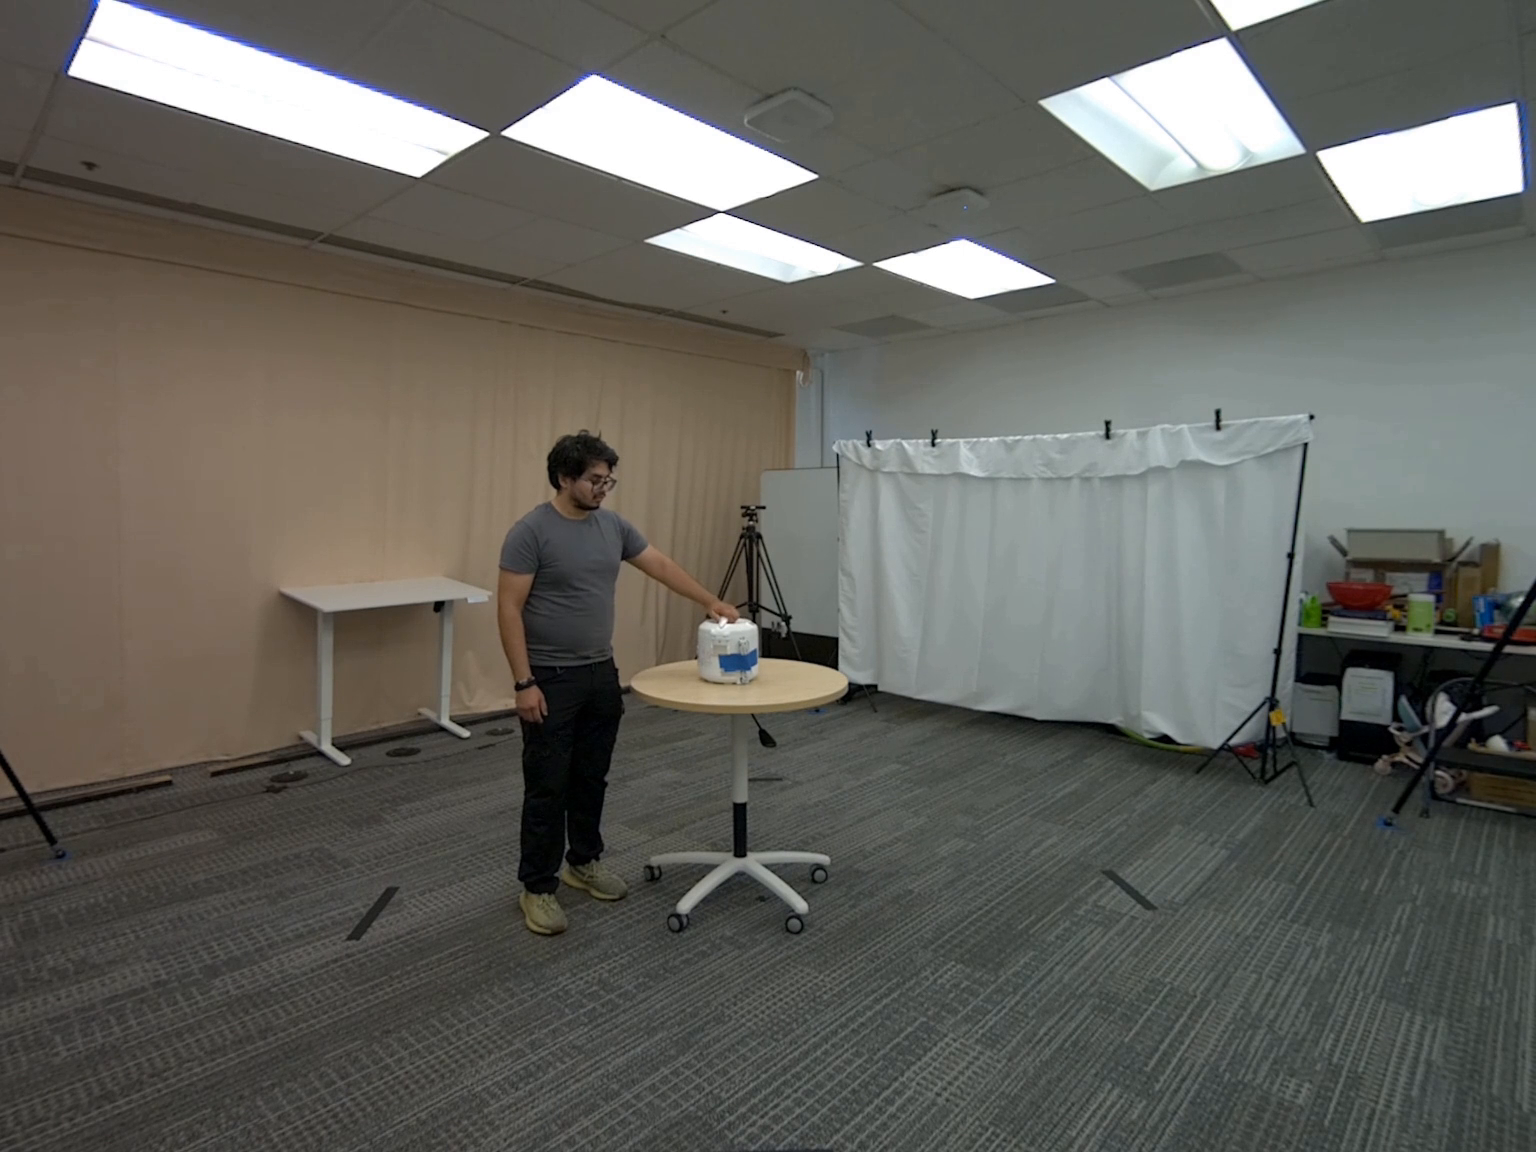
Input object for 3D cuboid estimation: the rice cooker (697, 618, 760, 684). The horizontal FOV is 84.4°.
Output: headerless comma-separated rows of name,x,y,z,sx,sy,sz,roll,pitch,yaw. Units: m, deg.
rice cooker,-0.138,0.251,2.958,0.221,0.232,0.218,1,5,14
